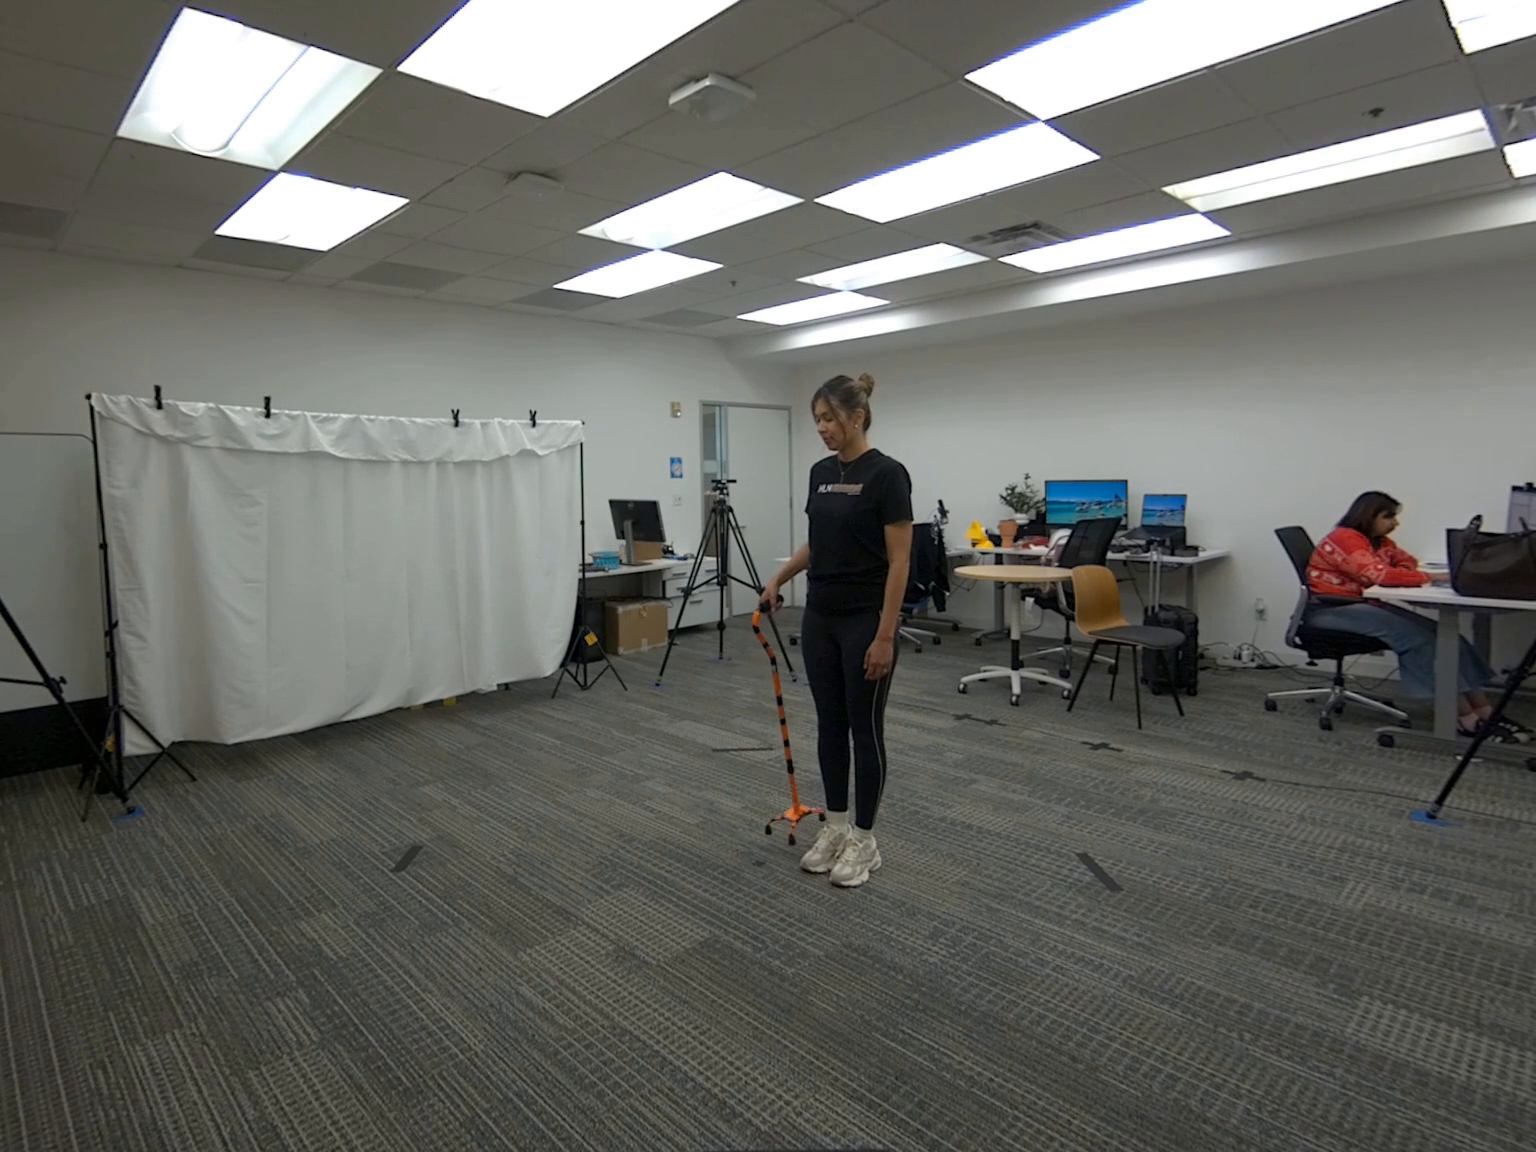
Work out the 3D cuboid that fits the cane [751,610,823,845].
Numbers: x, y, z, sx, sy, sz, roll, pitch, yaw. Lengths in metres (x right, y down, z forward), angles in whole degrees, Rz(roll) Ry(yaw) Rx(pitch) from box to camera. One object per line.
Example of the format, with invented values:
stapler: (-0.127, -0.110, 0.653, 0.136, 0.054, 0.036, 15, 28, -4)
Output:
cane: (0.037, 0.534, 3.169, 0.156, 0.896, 0.203, 4, 18, 44)
